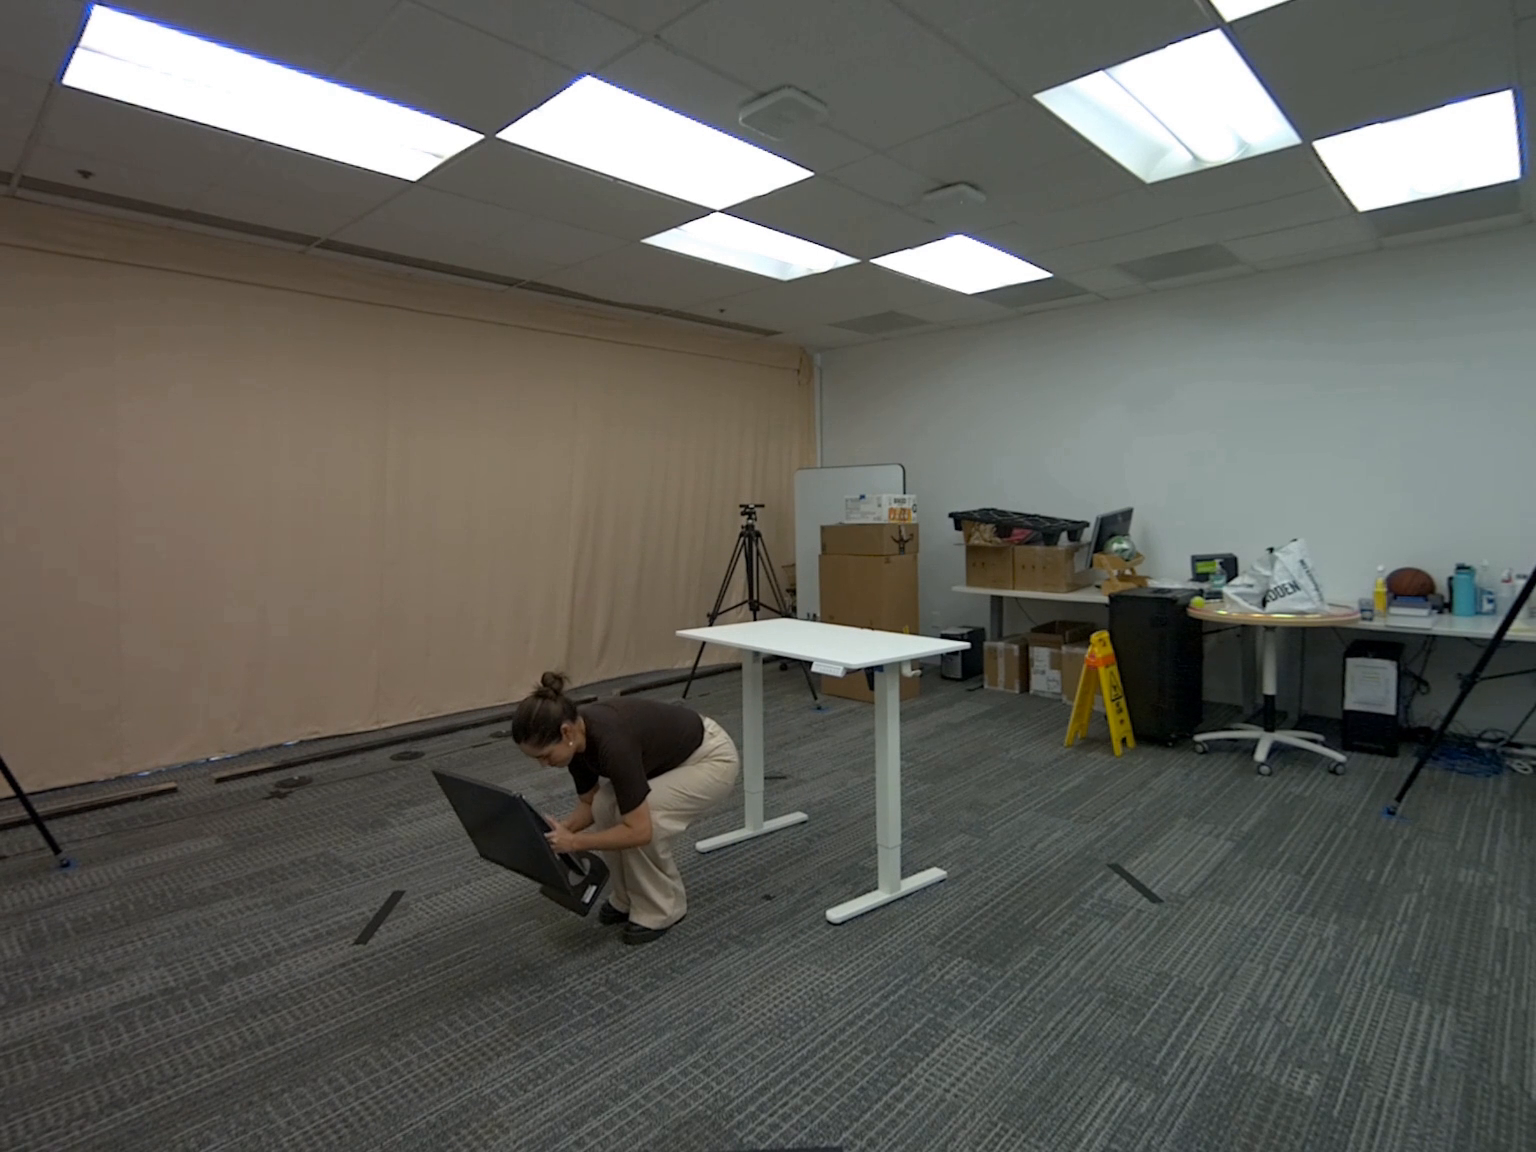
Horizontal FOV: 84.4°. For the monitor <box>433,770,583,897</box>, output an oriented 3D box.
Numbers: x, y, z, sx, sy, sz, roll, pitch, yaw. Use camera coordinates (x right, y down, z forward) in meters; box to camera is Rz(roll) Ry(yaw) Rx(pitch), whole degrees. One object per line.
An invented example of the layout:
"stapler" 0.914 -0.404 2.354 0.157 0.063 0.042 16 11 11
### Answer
"monitor" -0.743 0.795 2.568 0.555 0.508 0.186 -5 40 44
